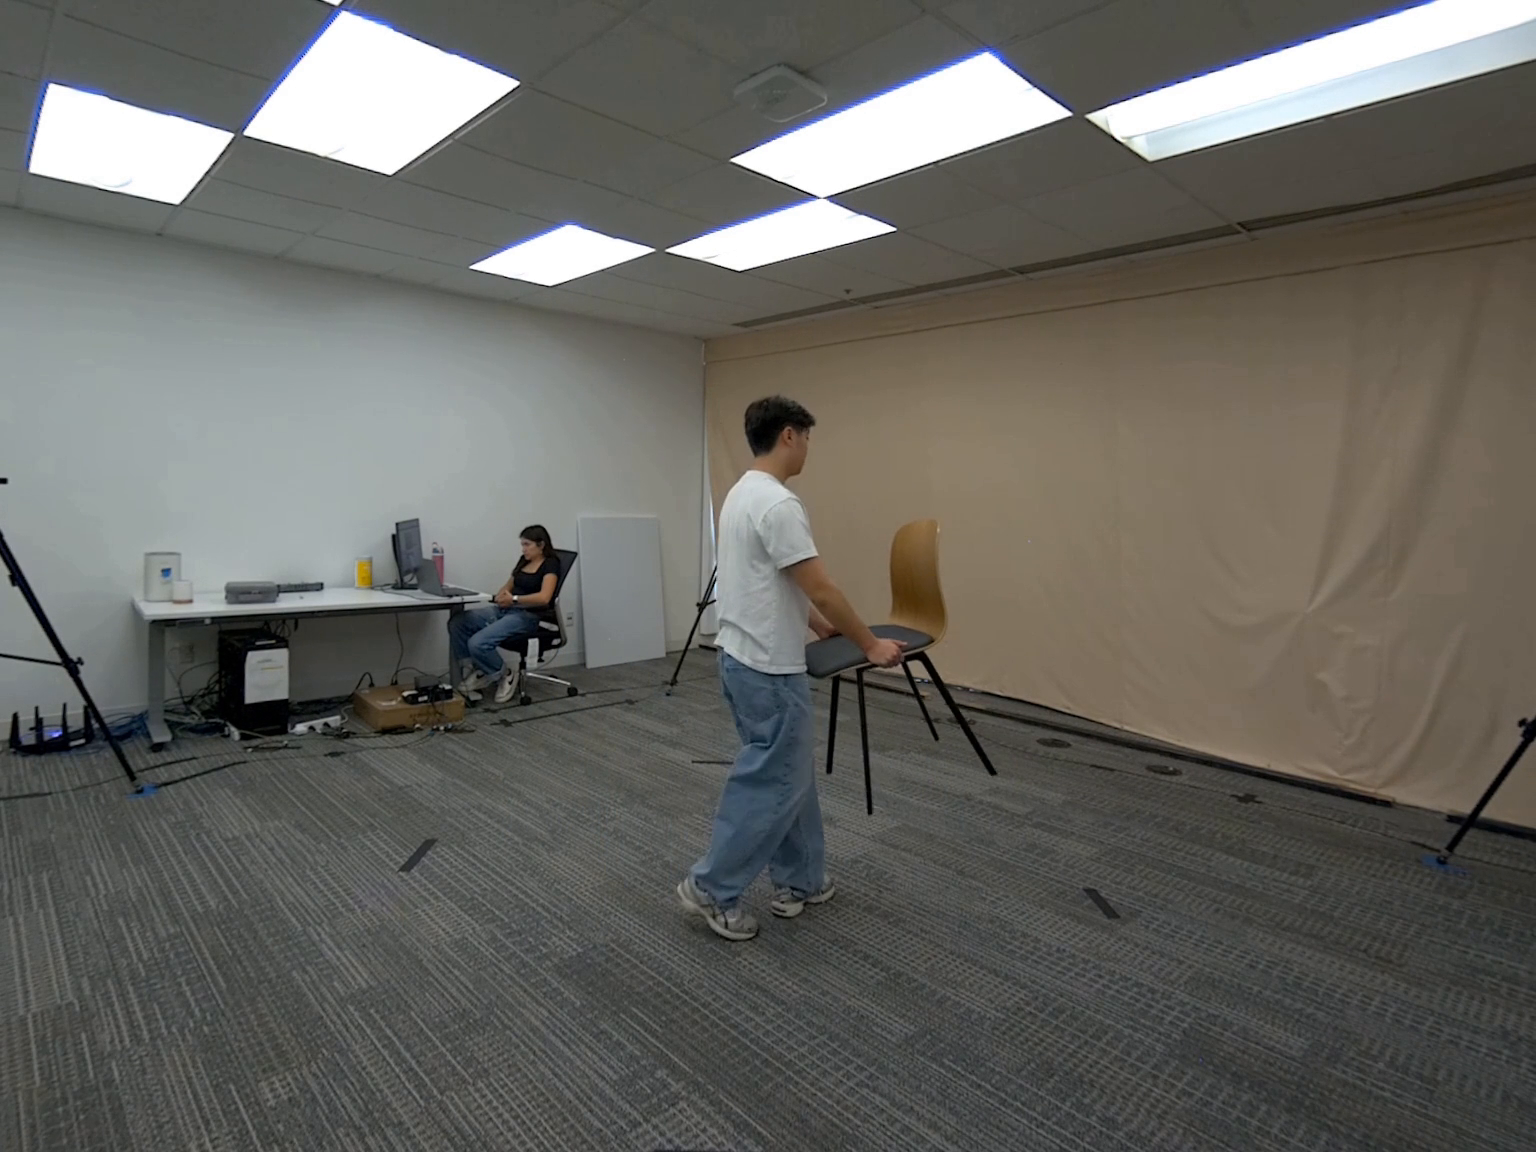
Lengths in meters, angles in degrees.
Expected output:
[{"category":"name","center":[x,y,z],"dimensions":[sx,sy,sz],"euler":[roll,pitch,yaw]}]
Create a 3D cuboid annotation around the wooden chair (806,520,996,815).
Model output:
[{"category":"wooden chair","center":[0.371,0.280,2.895],"dimensions":[0.519,0.873,0.484],"euler":[-10,5,-12]}]
